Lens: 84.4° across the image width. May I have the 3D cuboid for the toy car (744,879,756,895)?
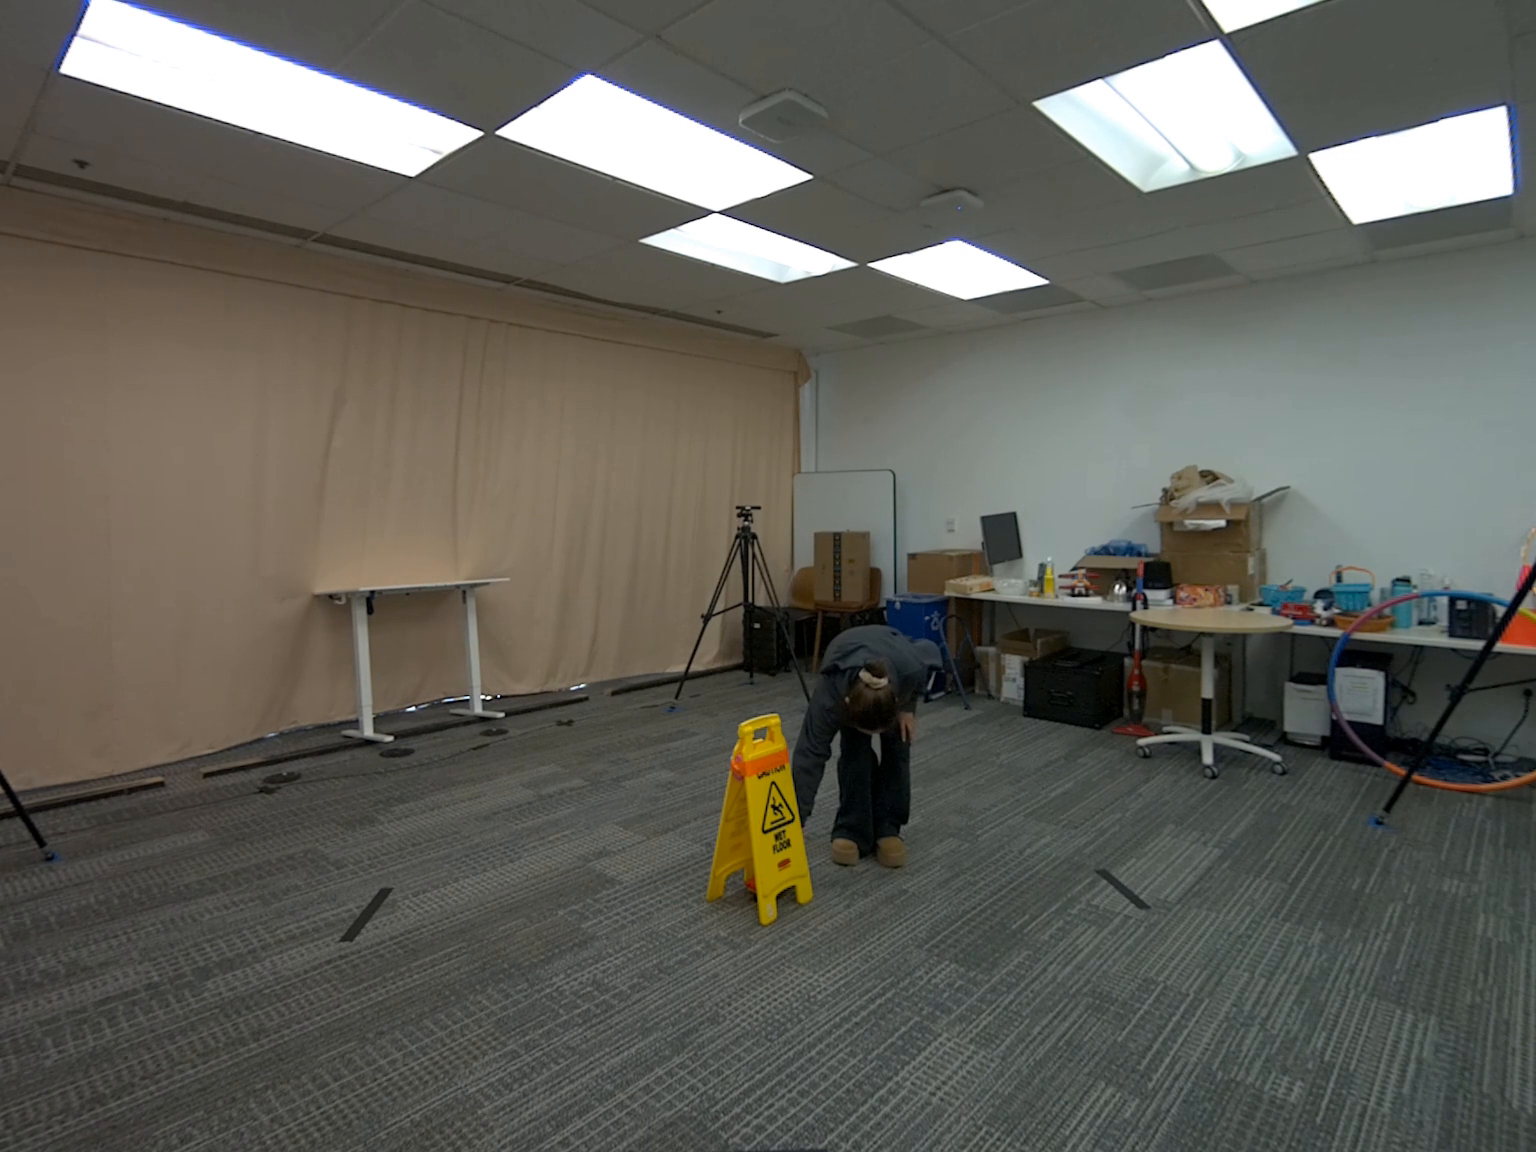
[{"bbox_3d":[0.060,1.107,3.044,0.135,0.083,0.246,4,-3,43],"label":"toy car"}]
